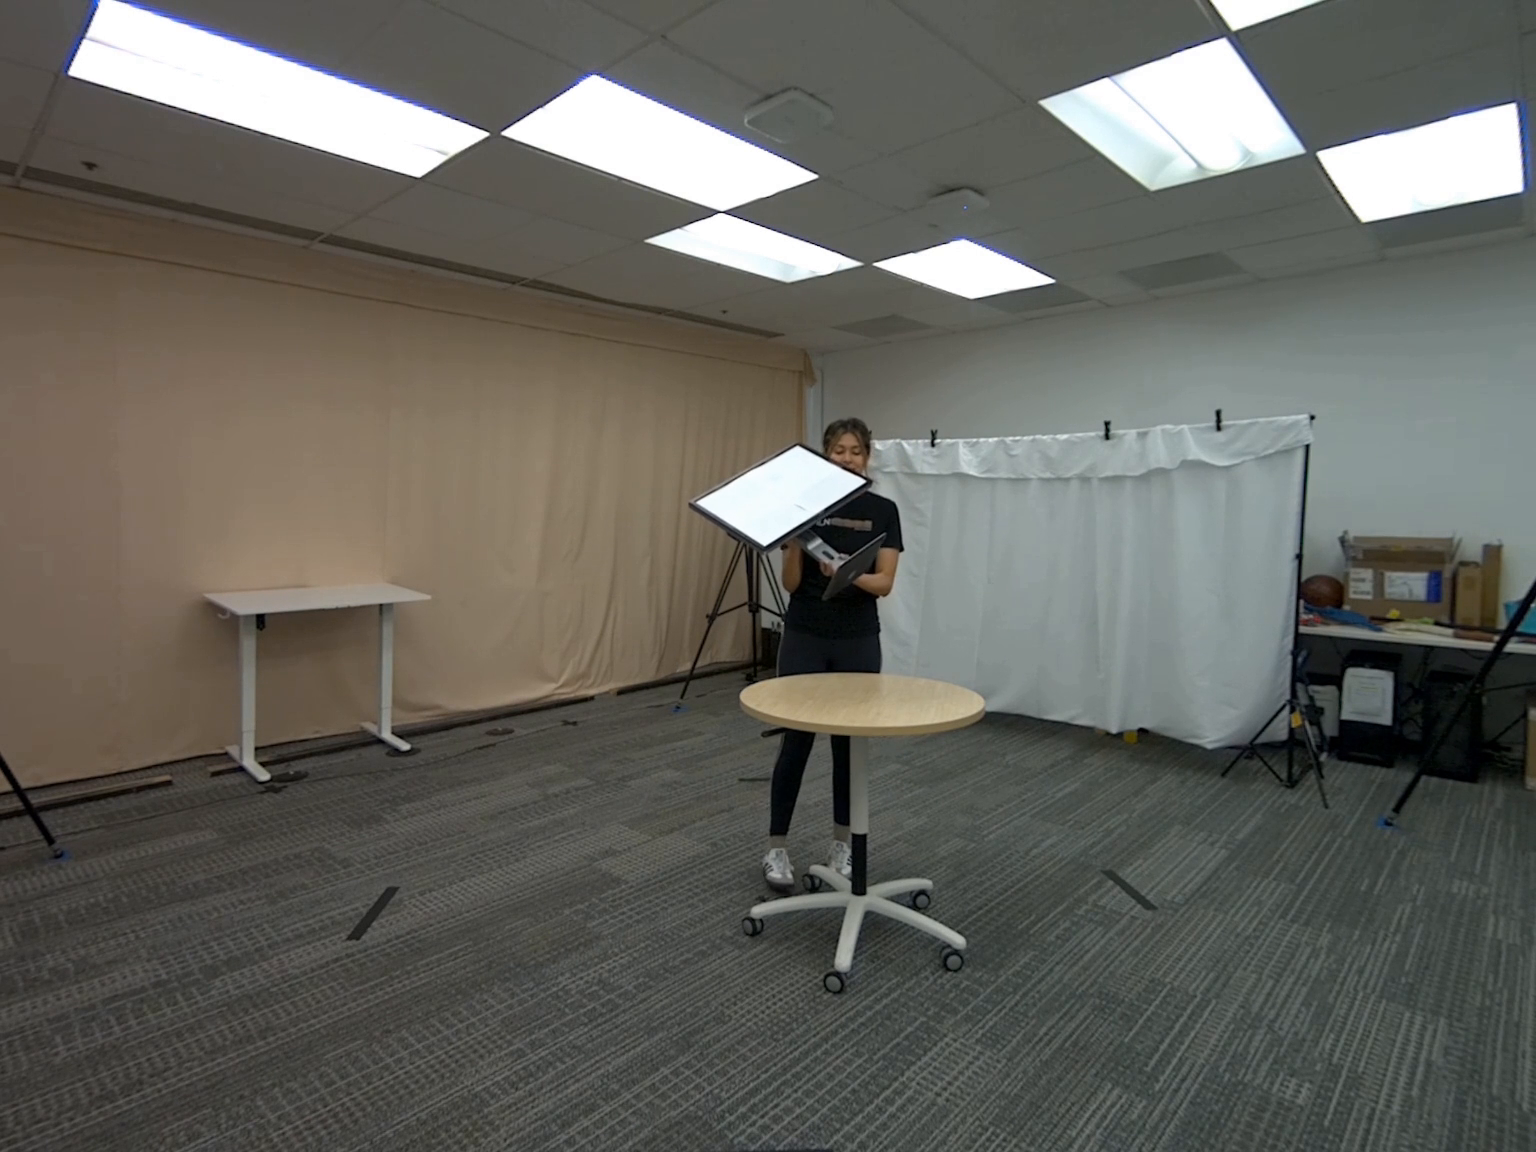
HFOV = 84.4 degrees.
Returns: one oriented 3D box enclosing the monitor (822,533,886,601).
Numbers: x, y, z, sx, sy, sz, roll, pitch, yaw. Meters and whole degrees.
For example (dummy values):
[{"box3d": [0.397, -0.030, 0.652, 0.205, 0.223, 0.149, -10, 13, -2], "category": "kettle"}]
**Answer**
[{"box3d": [0.109, -0.205, 2.902, 0.530, 0.185, 0.537, -30, 62, -33], "category": "monitor"}]
